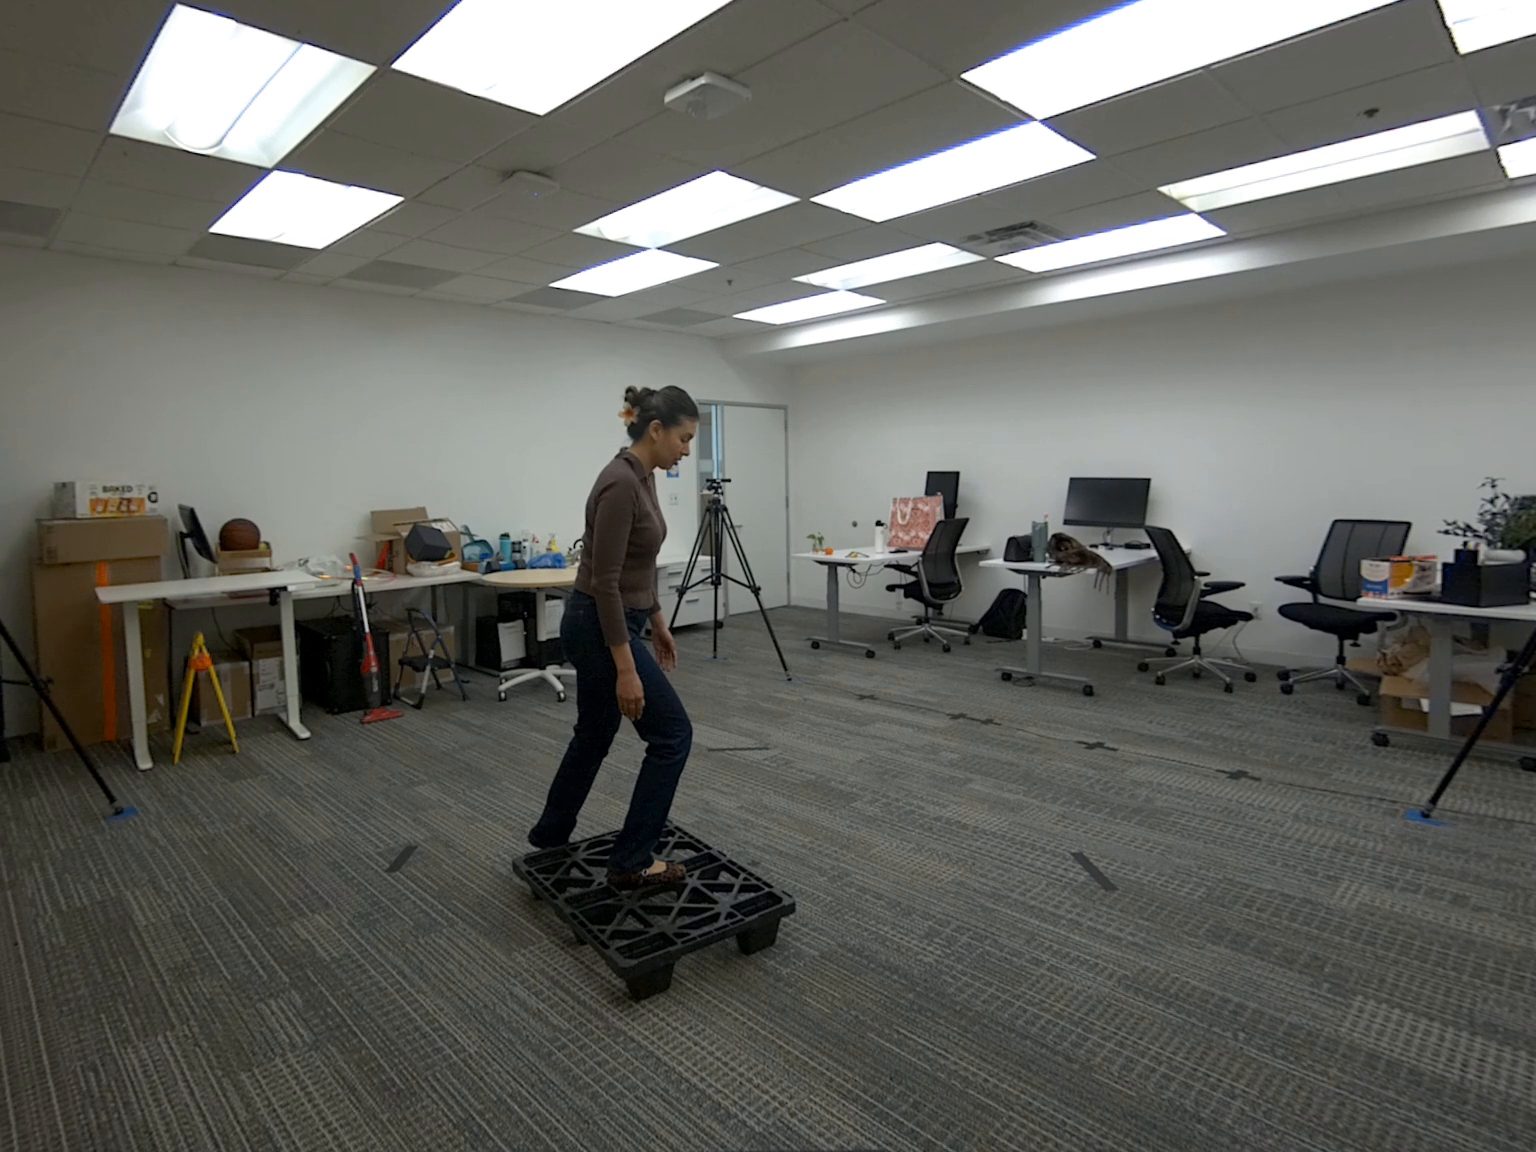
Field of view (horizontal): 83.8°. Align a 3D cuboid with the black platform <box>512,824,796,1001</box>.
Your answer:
[{"bbox_3d":[-0.386,1.030,2.730,0.590,0.142,0.830,-5,8,-36],"label":"black platform"}]
